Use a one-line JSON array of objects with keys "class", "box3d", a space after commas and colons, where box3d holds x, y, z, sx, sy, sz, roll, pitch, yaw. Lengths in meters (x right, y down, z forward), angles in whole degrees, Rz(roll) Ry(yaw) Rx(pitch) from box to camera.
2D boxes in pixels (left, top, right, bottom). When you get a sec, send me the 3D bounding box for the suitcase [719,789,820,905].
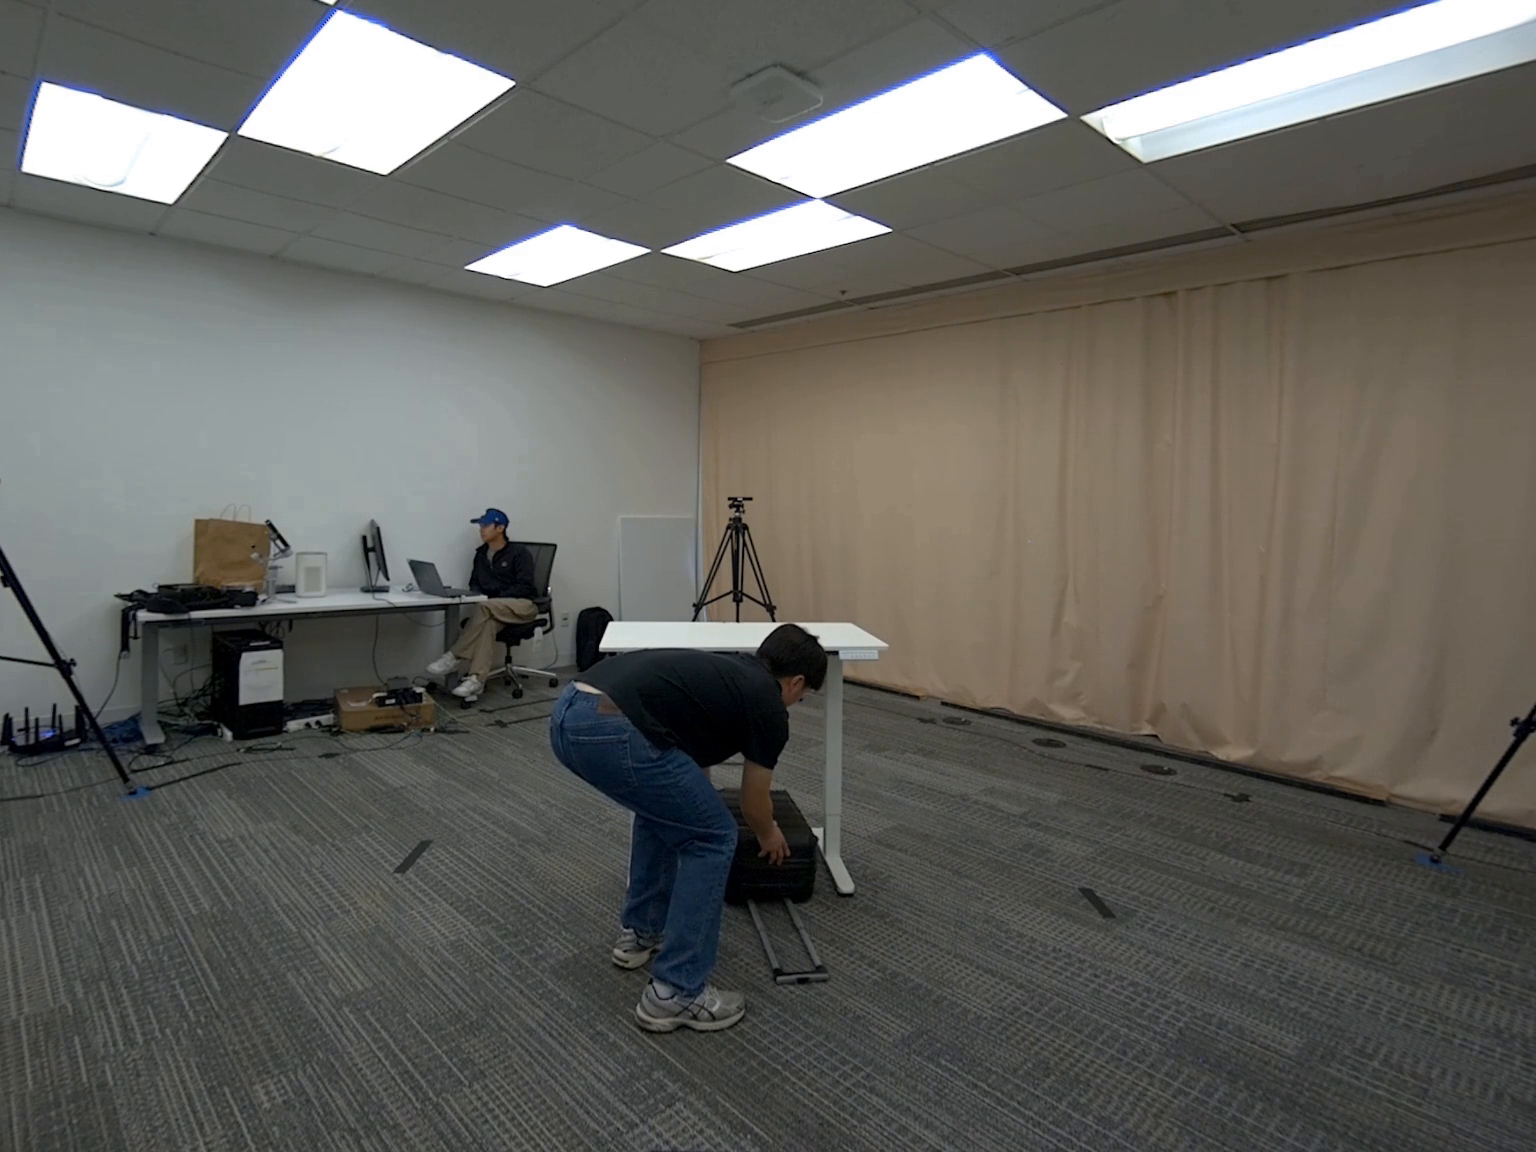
[{"class": "suitcase", "box3d": [-0.004, 1.000, 2.903, 0.380, 0.256, 0.989, 3, 4, -11]}]
